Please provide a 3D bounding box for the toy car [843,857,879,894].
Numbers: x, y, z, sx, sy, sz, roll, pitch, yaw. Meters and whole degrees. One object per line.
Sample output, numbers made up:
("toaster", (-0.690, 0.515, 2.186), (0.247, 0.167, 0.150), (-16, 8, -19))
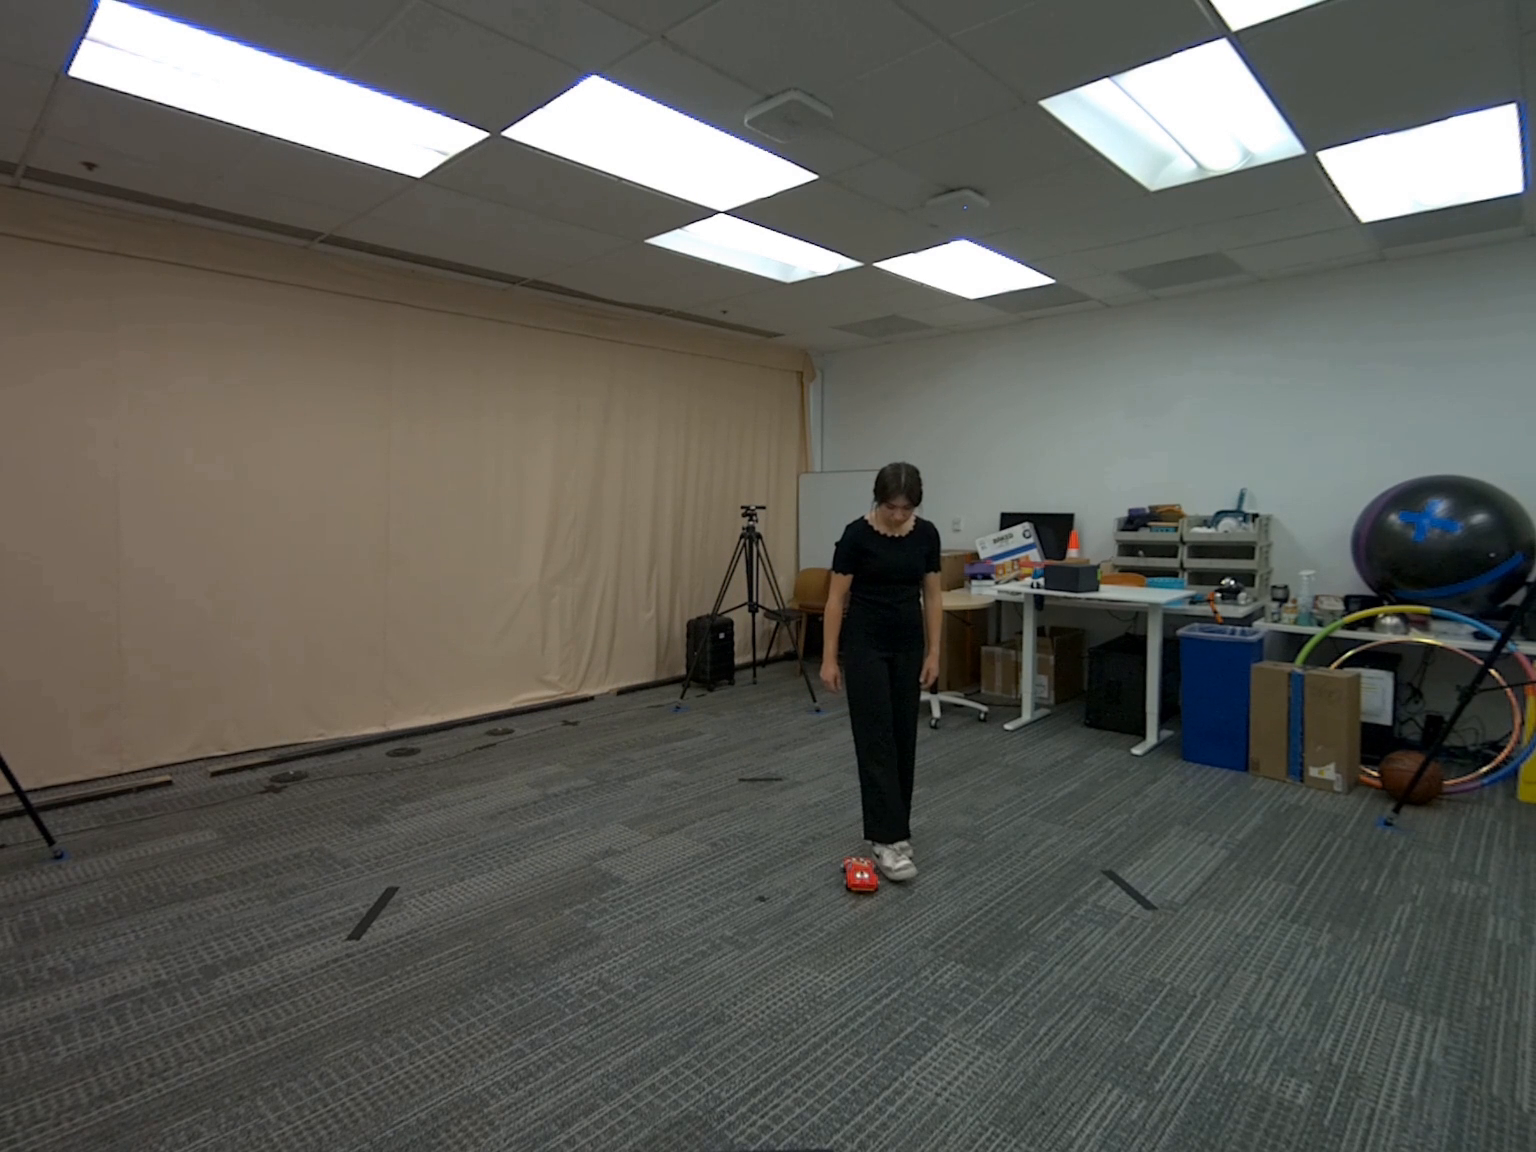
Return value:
("toy car", (0.347, 1.100, 3.096), (0.130, 0.083, 0.253), (0, -7, 1))
